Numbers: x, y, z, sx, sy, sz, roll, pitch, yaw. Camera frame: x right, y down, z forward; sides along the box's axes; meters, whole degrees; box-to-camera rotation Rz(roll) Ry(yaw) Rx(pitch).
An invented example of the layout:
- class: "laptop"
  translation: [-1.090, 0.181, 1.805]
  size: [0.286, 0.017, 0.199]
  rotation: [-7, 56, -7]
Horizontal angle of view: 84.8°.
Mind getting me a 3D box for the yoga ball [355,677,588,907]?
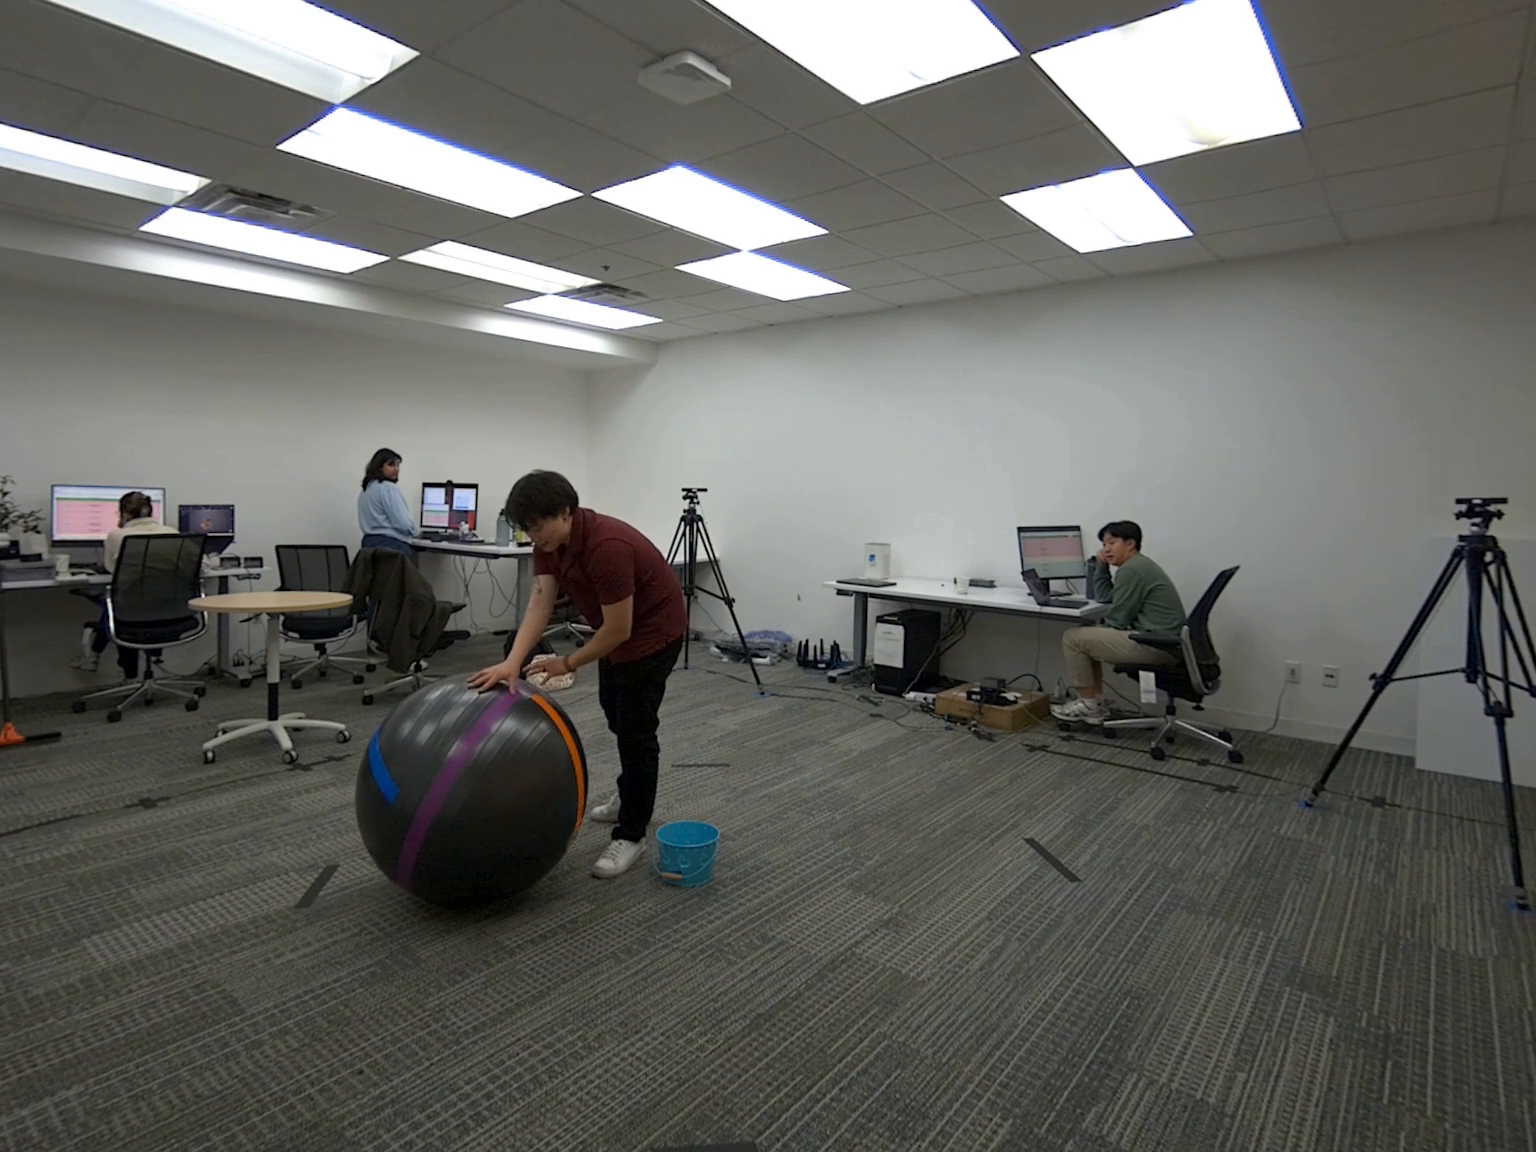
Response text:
- class: "yoga ball"
  translation: [-1.012, 0.716, 2.888]
  size: [0.757, 0.755, 0.762]
  rotation: [1, 4, -2]
